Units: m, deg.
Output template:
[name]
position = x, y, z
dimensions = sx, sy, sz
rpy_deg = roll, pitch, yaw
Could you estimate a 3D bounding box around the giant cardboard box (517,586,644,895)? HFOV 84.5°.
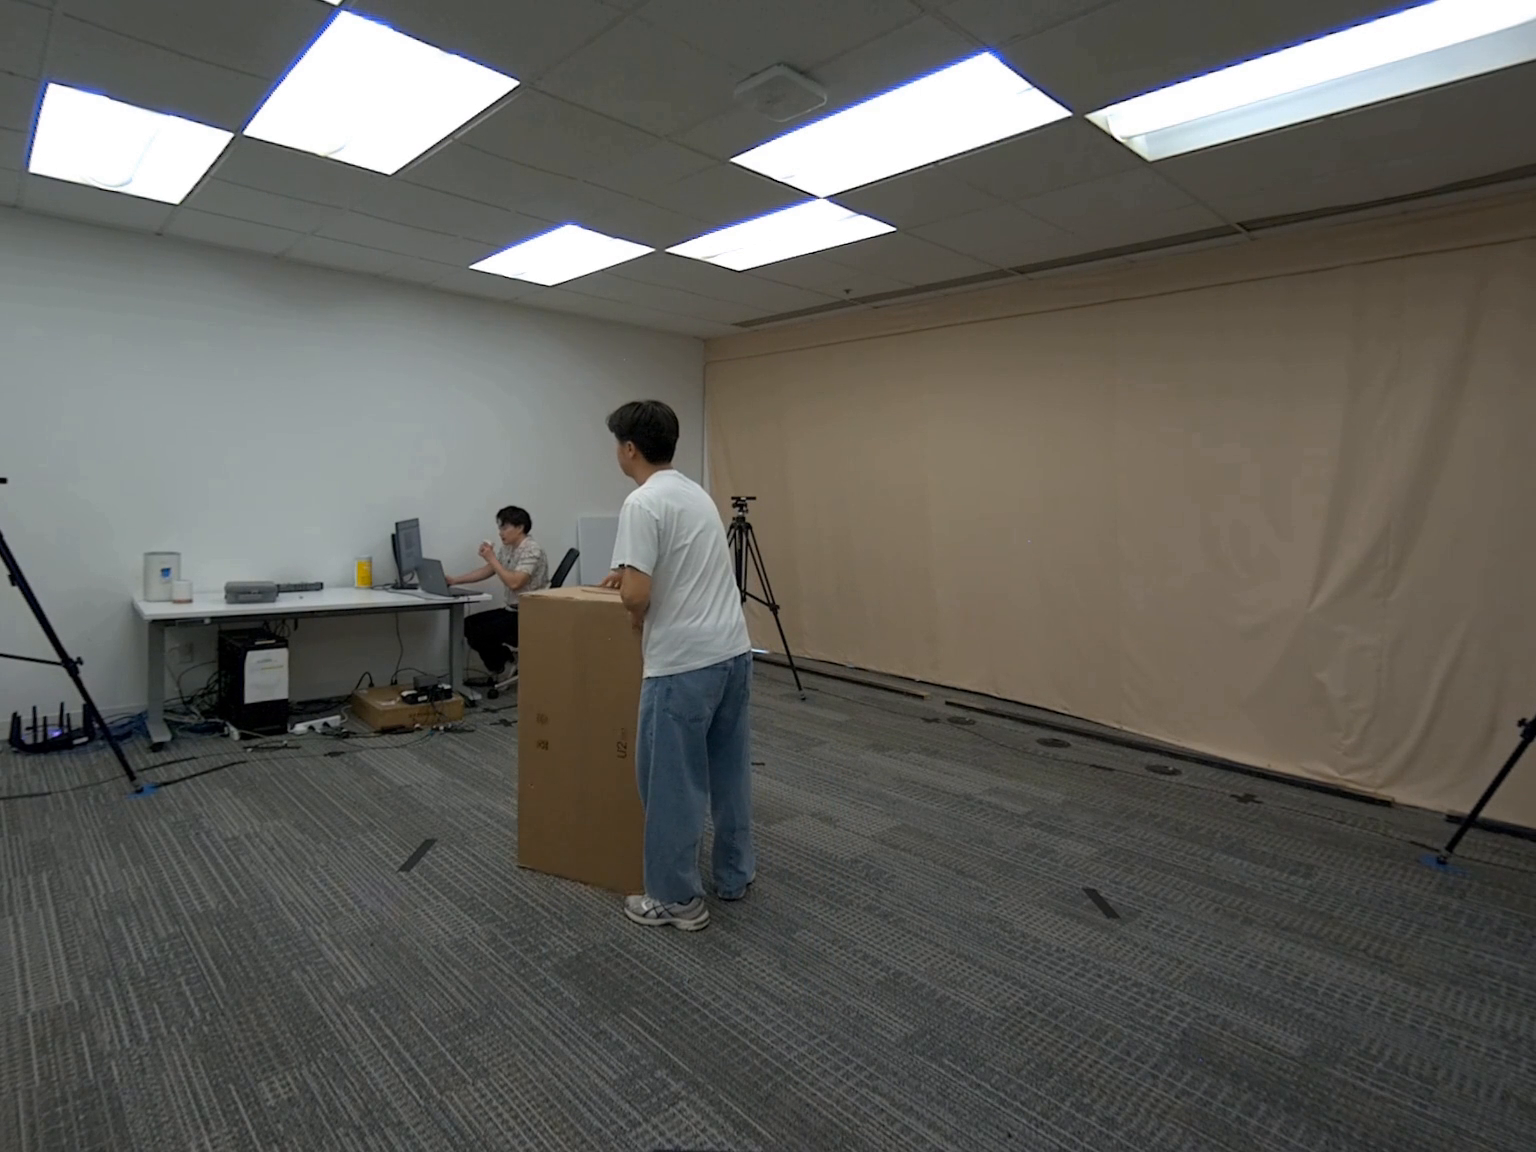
[giant cardboard box]
position = -0.588, 0.576, 3.191
dimensions = 0.588, 1.024, 0.419
rpy_deg = 3, 3, 24
